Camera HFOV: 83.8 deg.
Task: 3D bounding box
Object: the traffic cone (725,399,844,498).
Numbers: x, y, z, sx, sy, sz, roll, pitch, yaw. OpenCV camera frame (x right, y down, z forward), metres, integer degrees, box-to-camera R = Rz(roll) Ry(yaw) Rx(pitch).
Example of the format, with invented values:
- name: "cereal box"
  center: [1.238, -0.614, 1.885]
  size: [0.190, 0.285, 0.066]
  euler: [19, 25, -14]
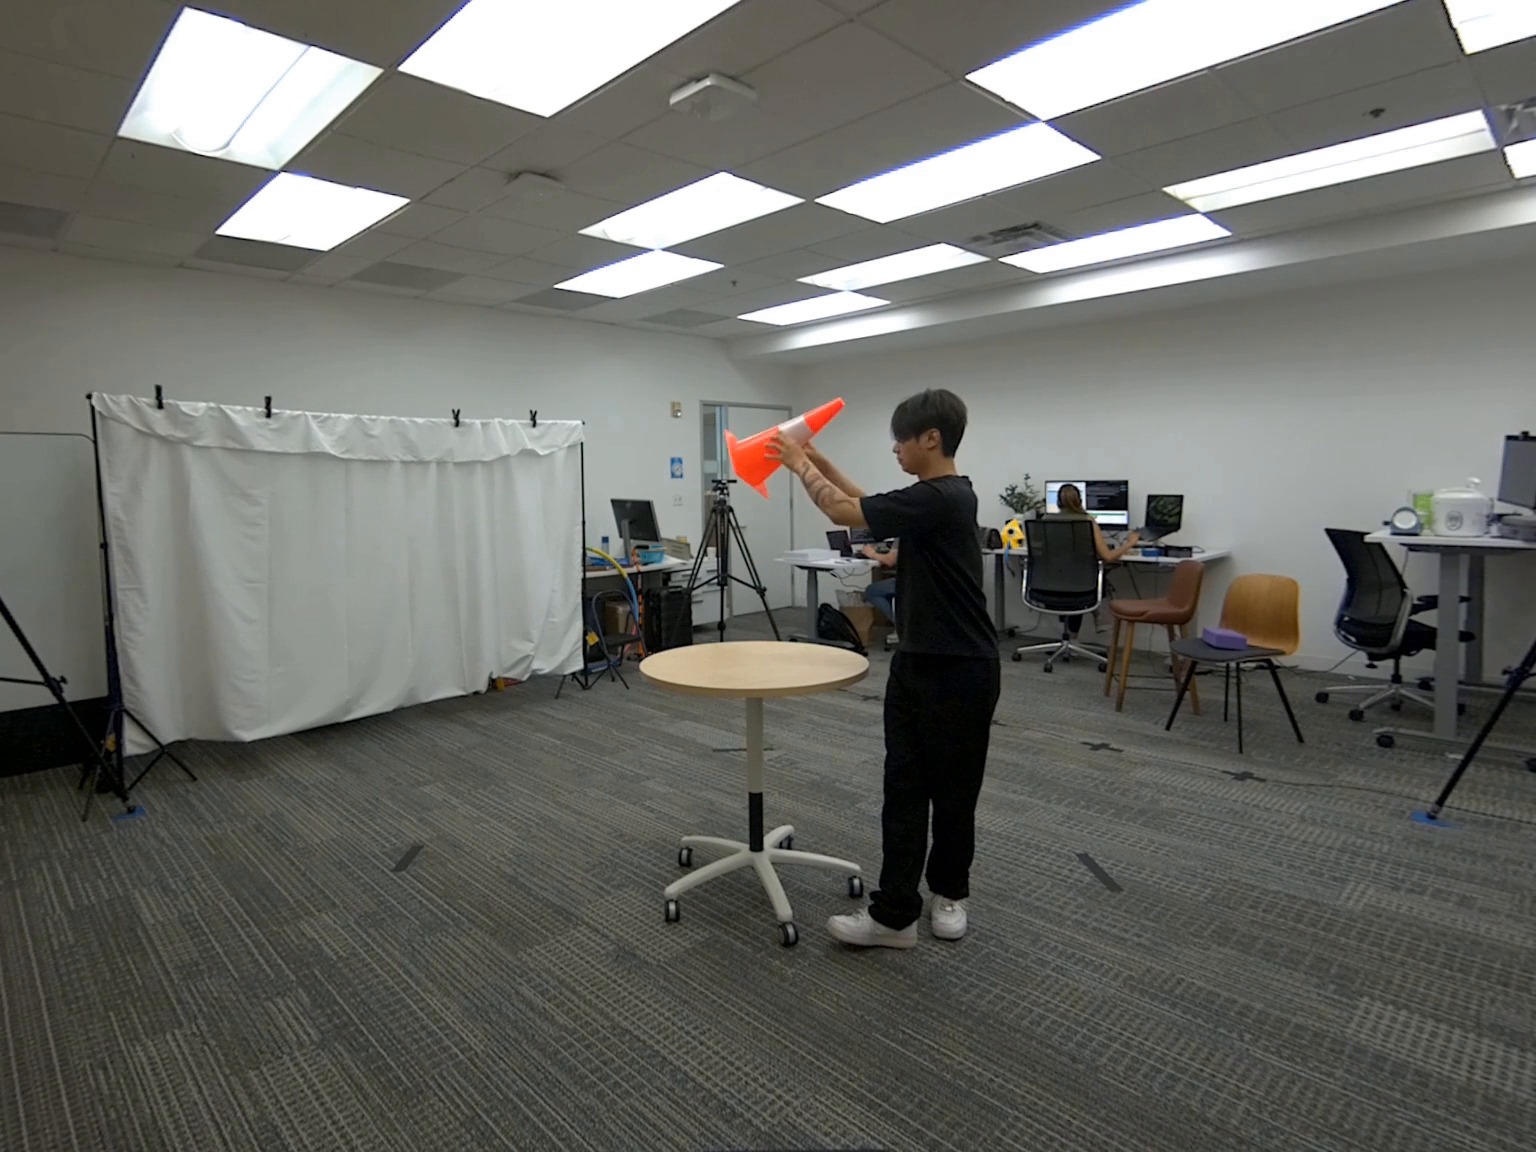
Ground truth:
- name: "traffic cone"
  center: [0.079, -0.432, 2.743]
  size: [0.386, 0.210, 0.197]
  euler: [-32, -37, 23]
